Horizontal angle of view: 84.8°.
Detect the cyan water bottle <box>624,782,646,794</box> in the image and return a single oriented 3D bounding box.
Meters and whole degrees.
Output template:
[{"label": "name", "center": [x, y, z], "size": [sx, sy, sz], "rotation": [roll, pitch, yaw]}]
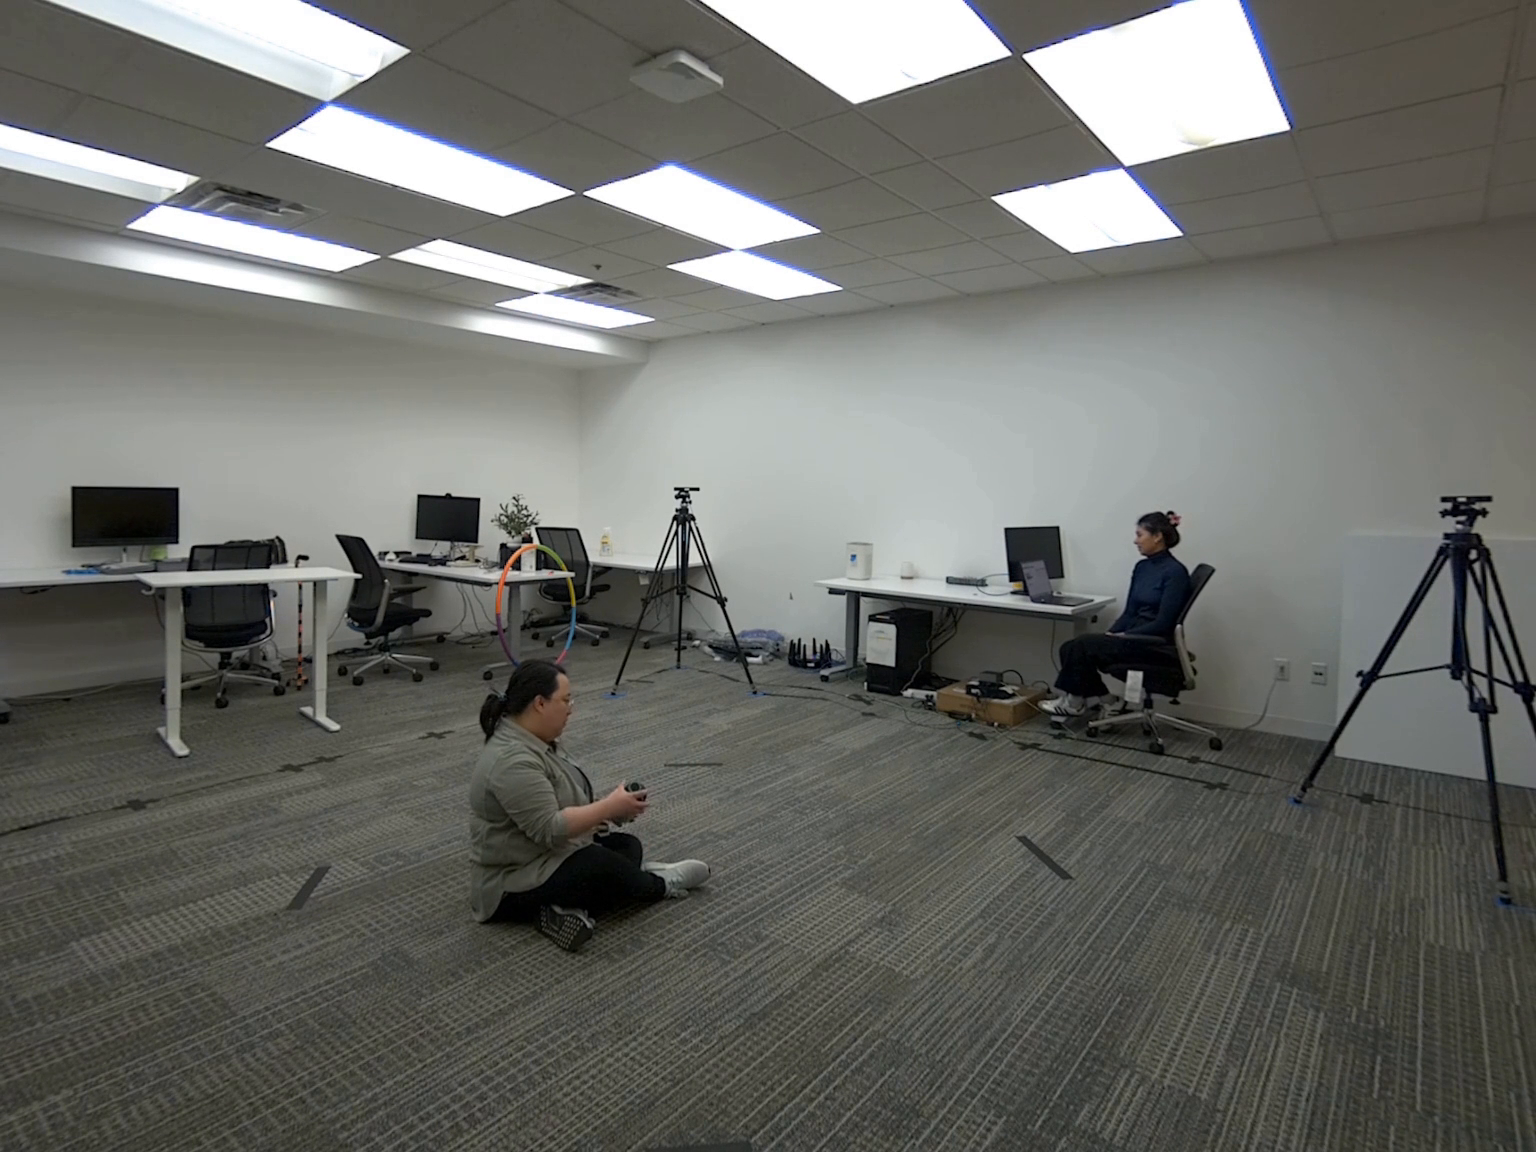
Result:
[{"label": "cyan water bottle", "center": [-0.481, 0.768, 2.842], "size": [0.090, 0.095, 0.281], "rotation": [0, -26, -20]}]
